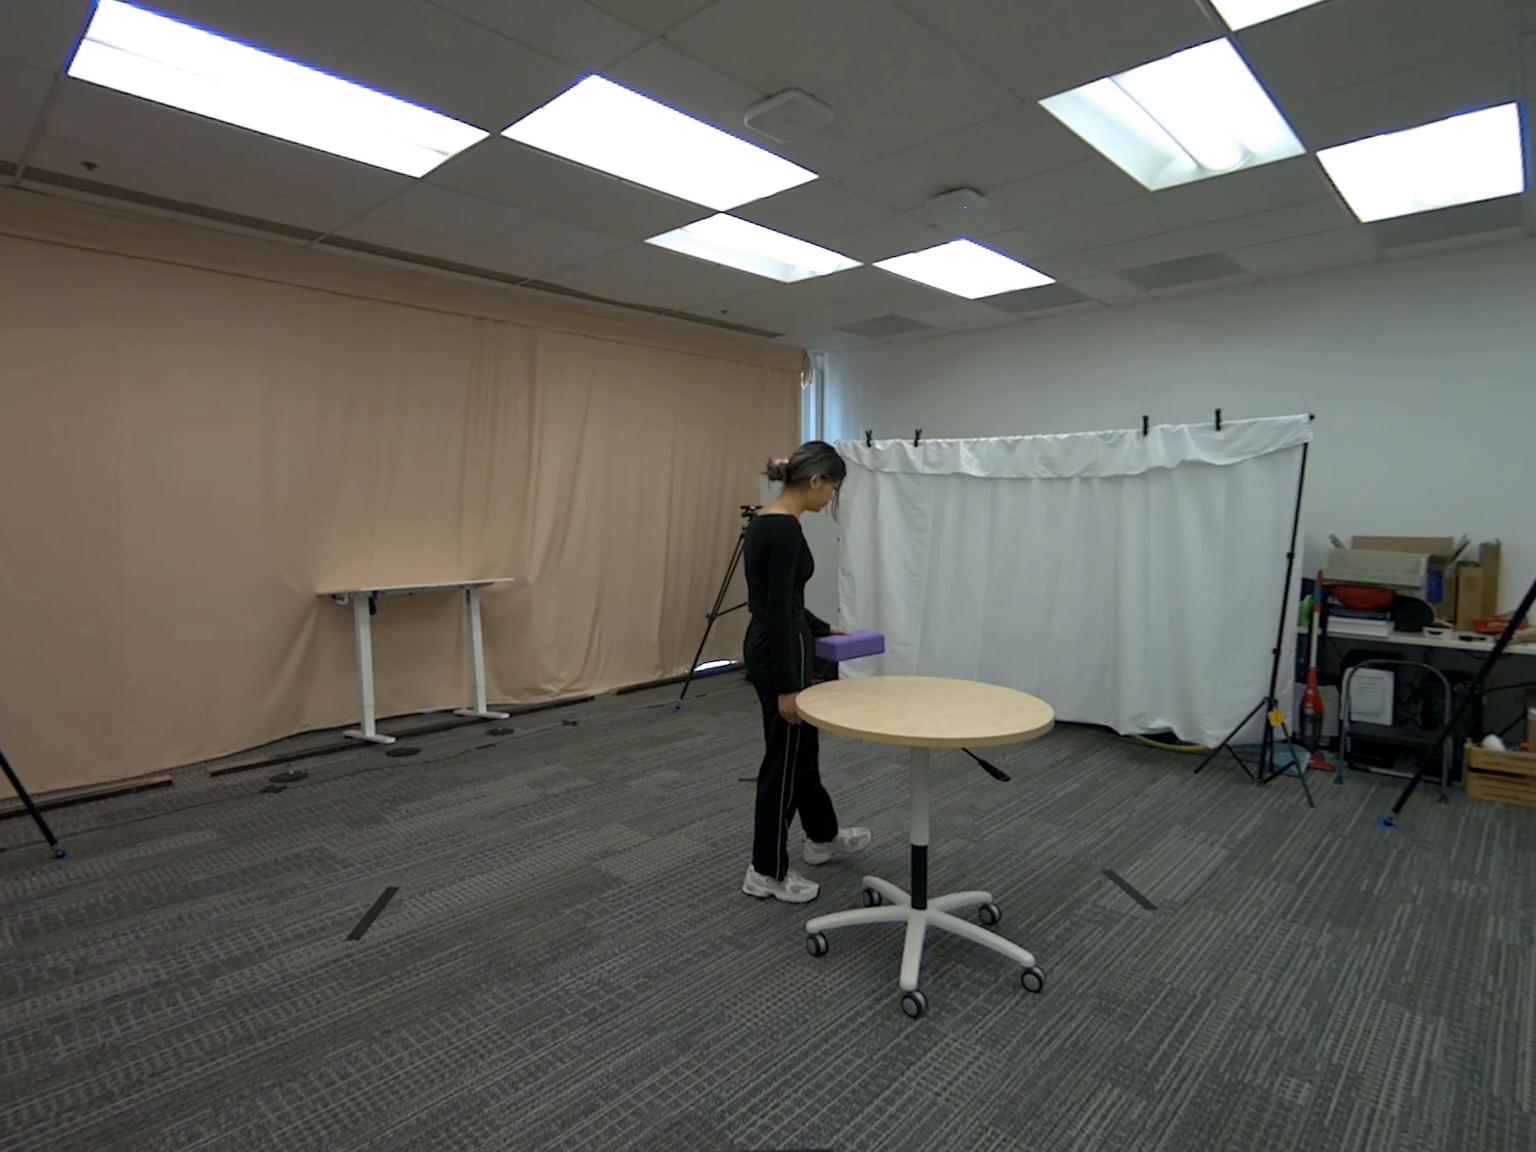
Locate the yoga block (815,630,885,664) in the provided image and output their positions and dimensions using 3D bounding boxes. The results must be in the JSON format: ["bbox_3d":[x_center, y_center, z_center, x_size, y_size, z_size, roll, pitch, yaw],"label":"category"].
[{"bbox_3d":[0.329,0.270,3.246,0.224,0.076,0.153,-8,7,-24],"label":"yoga block"}]
